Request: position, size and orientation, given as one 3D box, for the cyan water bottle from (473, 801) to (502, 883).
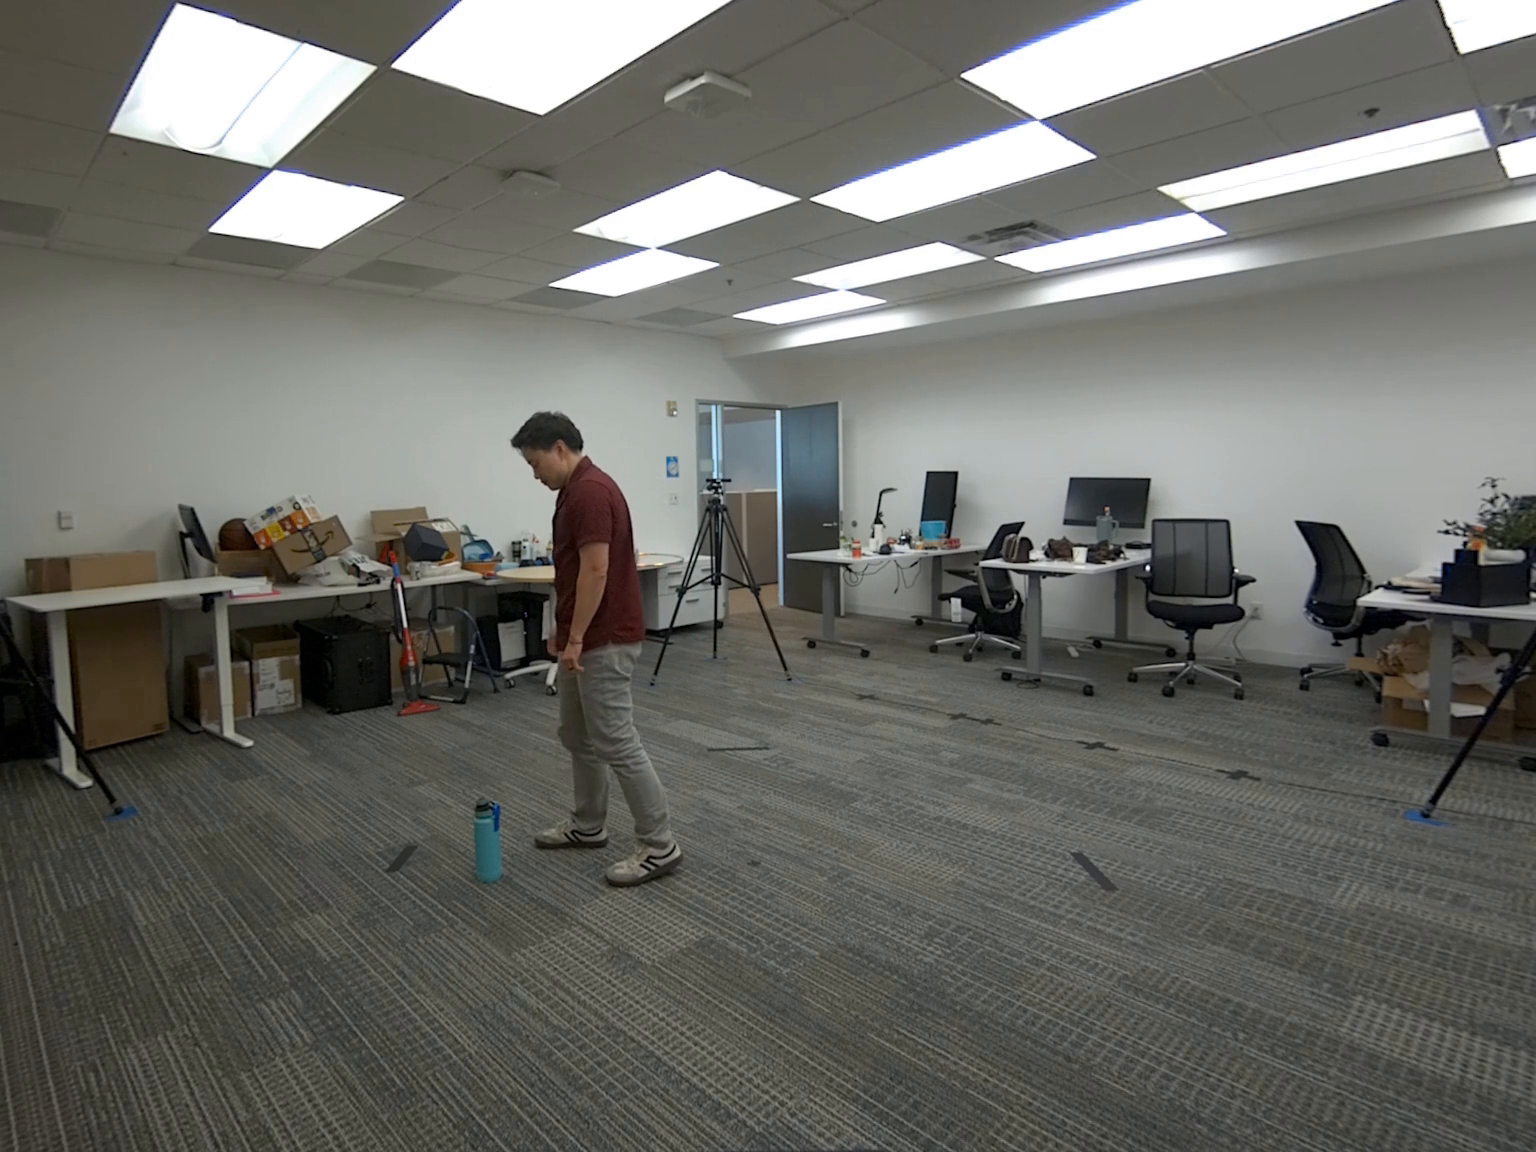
[{"bbox_3d":[-0.993,0.933,3.032,0.092,0.282,0.093,-1,4,-2],"label":"cyan water bottle"}]
